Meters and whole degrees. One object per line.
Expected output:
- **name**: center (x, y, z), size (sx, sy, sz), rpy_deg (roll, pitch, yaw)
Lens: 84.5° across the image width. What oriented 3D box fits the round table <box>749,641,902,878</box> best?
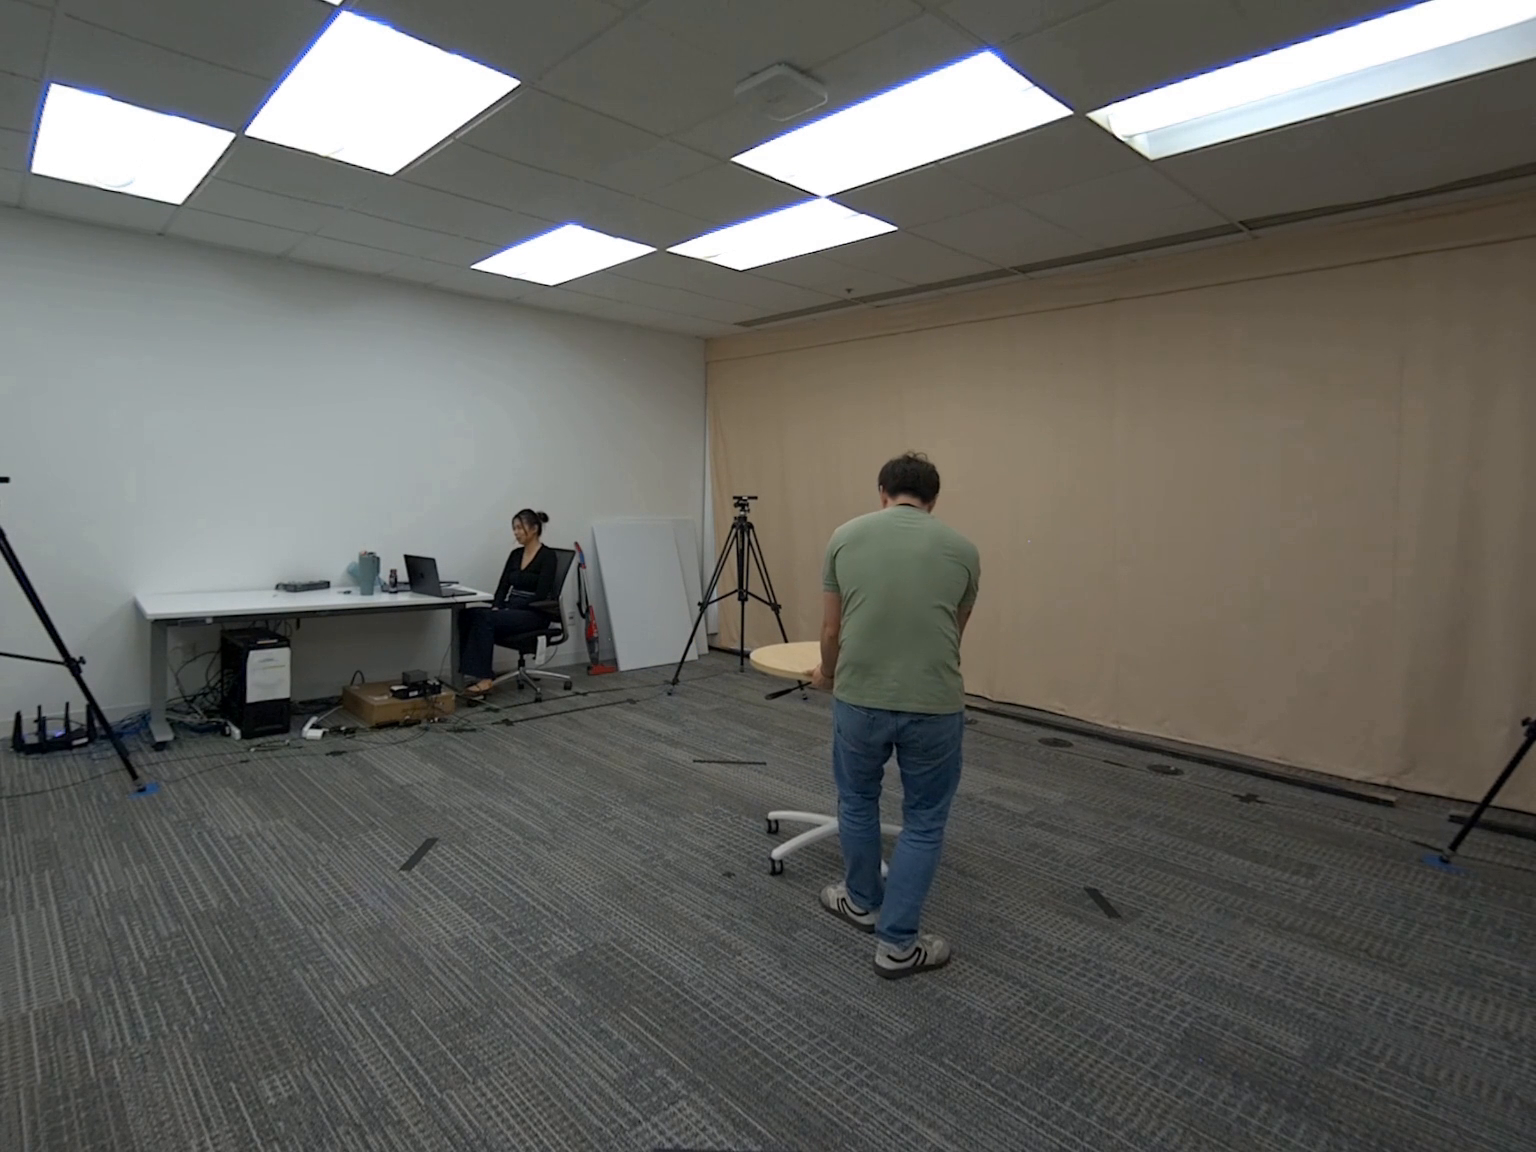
- **round table**: center (0.299, 0.712, 3.284), size (0.763, 0.792, 0.766), rpy_deg (1, 4, -1)
